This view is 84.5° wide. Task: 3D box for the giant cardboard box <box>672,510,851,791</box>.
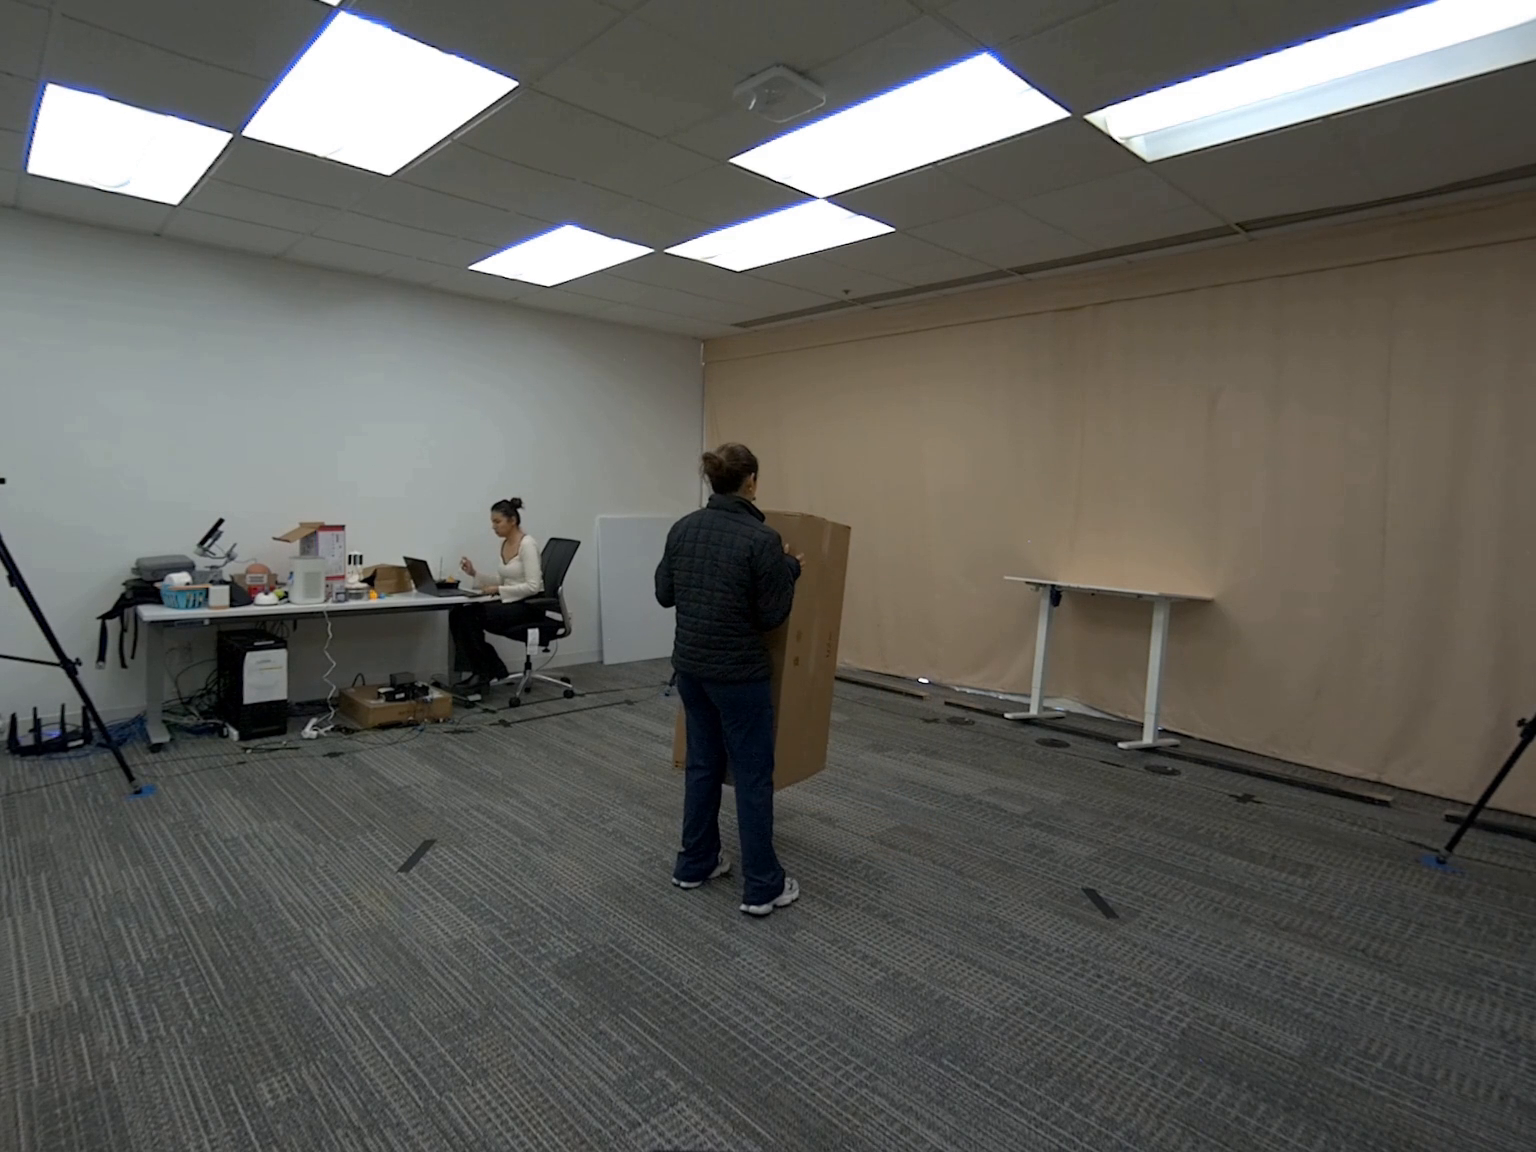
[{"bbox_3d":[-0.003,0.272,3.355,0.435,1.026,0.565,6,-1,27],"label":"giant cardboard box"}]
